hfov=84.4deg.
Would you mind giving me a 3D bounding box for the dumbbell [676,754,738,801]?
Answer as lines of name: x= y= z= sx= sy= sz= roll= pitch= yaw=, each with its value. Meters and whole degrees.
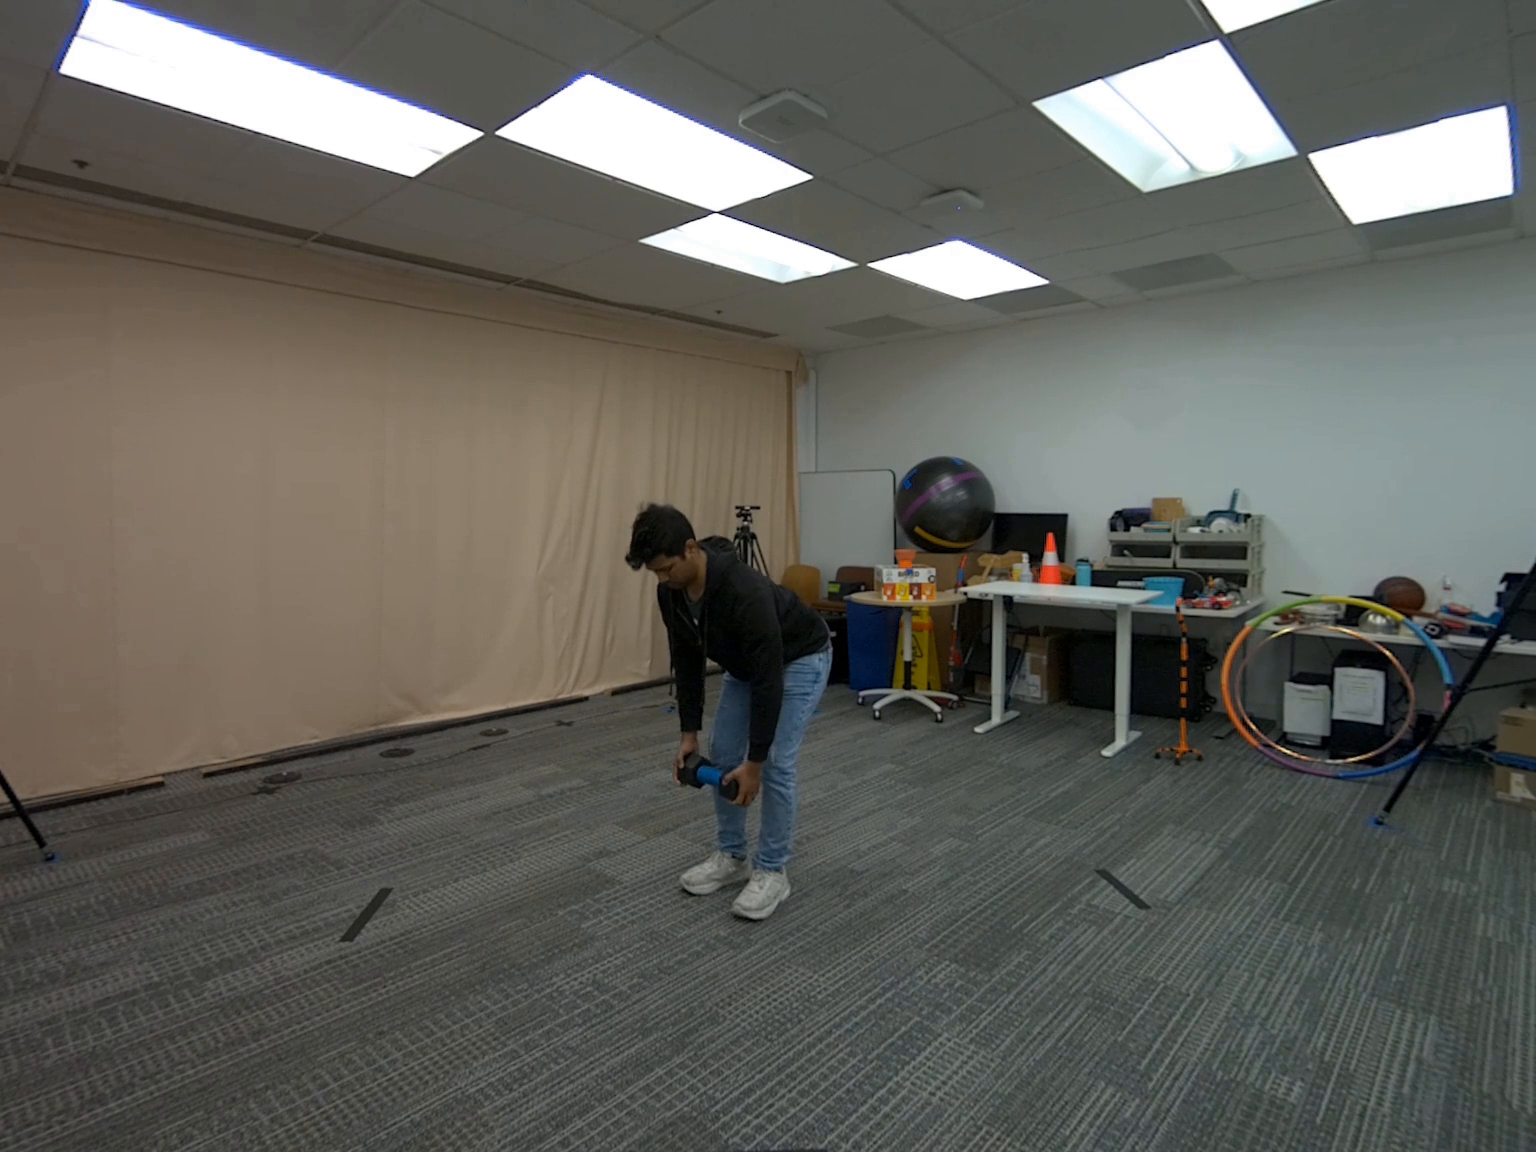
dumbbell: x=-0.169 y=0.702 z=2.919 sx=0.303 sy=0.109 sz=0.118 roll=2 pitch=-22 yaw=46
